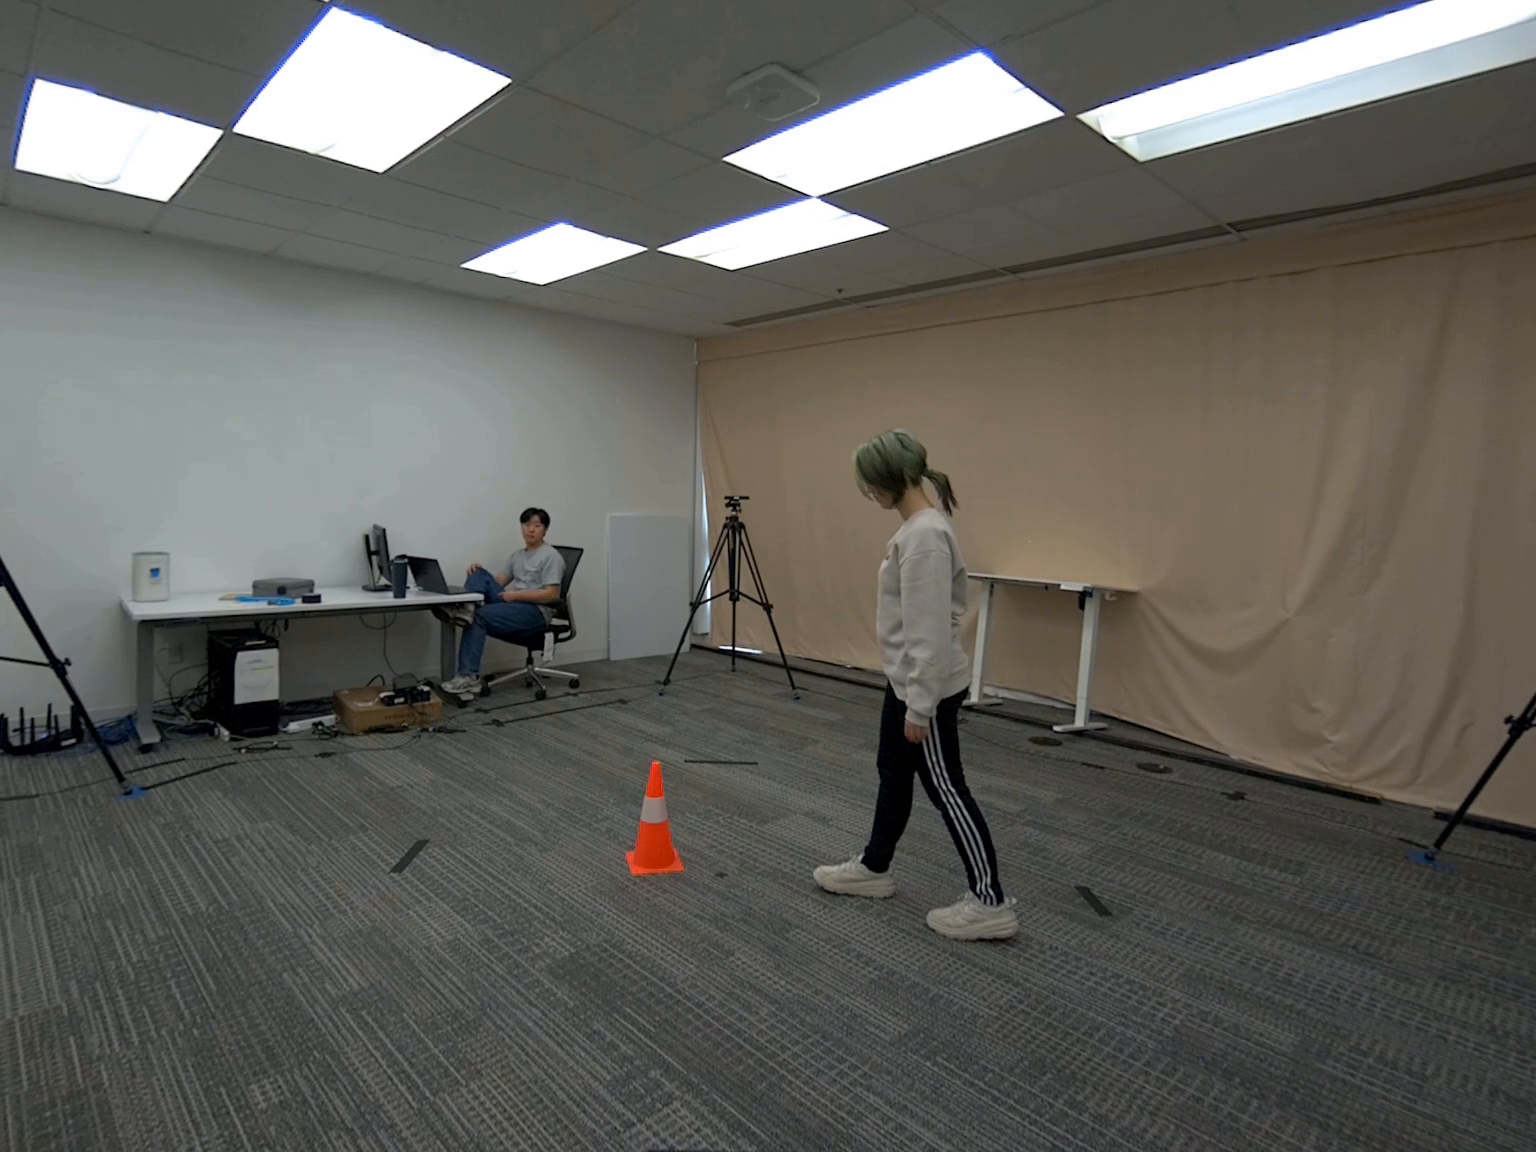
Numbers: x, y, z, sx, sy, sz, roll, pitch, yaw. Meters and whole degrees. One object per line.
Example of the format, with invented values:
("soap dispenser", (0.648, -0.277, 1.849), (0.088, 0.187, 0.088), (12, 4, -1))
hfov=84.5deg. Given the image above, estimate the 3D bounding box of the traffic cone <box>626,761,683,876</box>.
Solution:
("traffic cone", (-0.444, 0.902, 3.203), (0.203, 0.383, 0.205), (1, 2, -9))
